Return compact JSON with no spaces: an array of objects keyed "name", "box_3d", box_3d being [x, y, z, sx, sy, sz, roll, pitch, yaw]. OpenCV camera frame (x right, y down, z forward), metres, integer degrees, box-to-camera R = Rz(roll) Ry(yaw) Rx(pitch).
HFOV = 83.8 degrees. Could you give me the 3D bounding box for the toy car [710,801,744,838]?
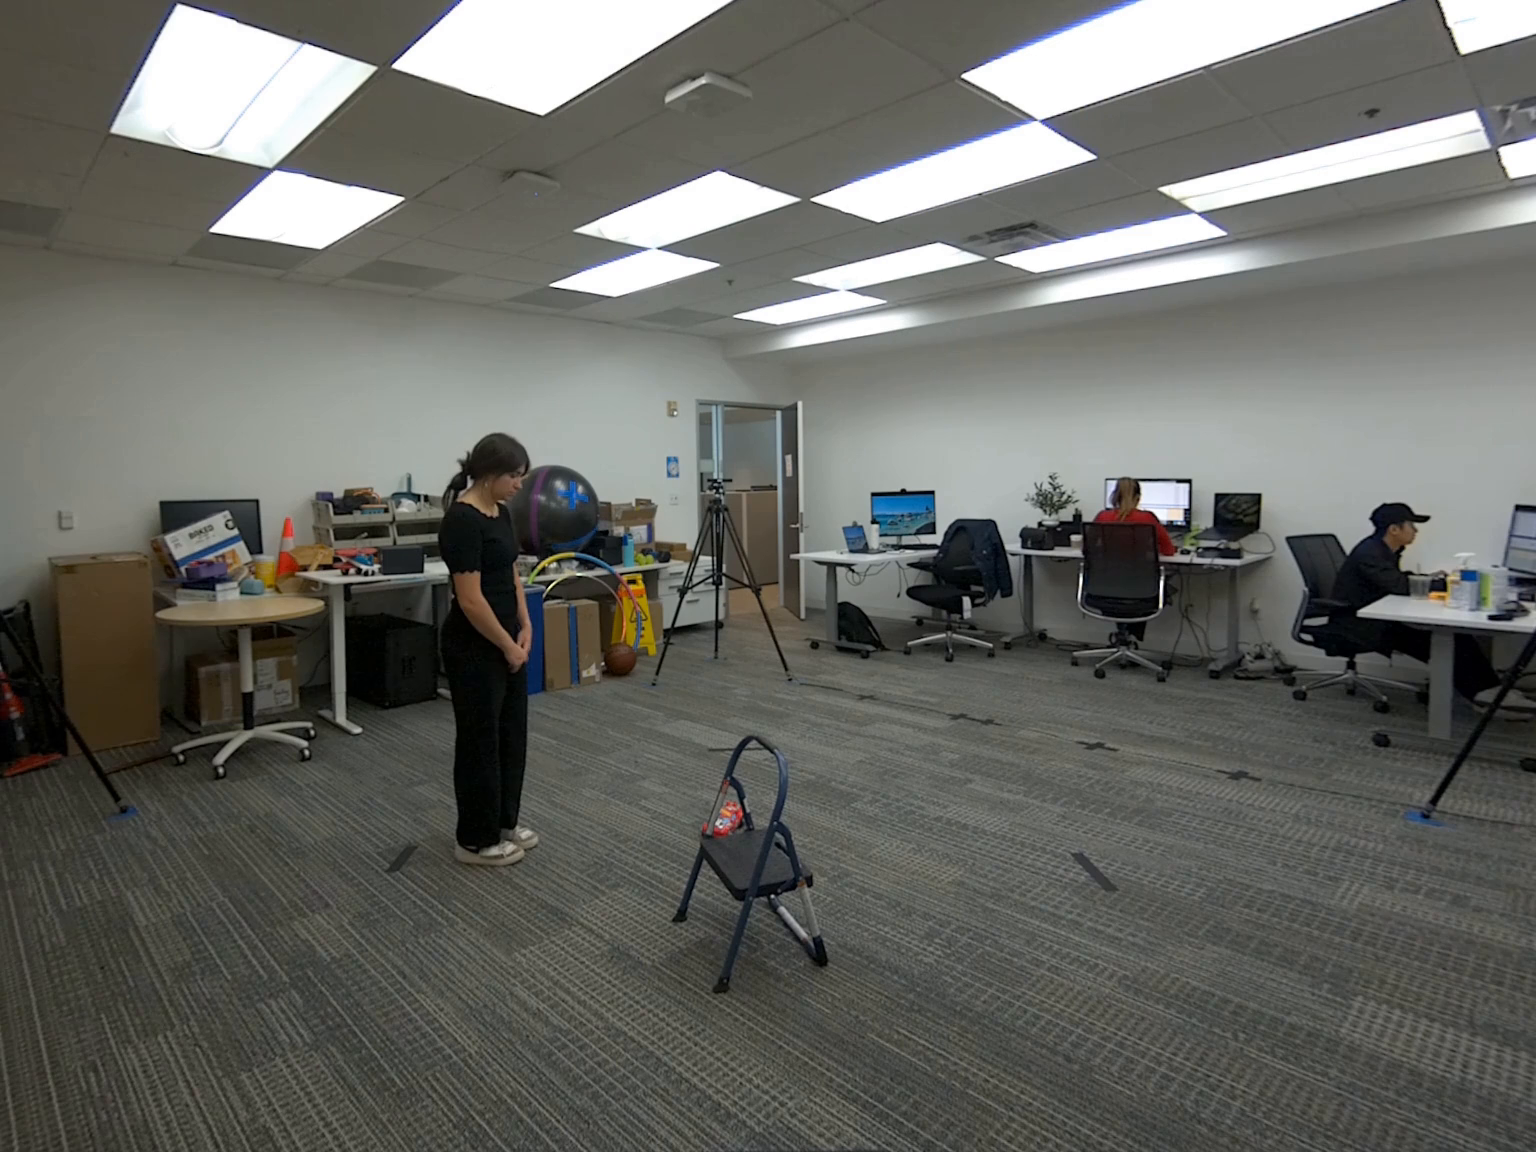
[{"name":"toy car","box_3d":[-0.164,0.985,3.418,0.133,0.082,0.253,-2,16,20]}]
